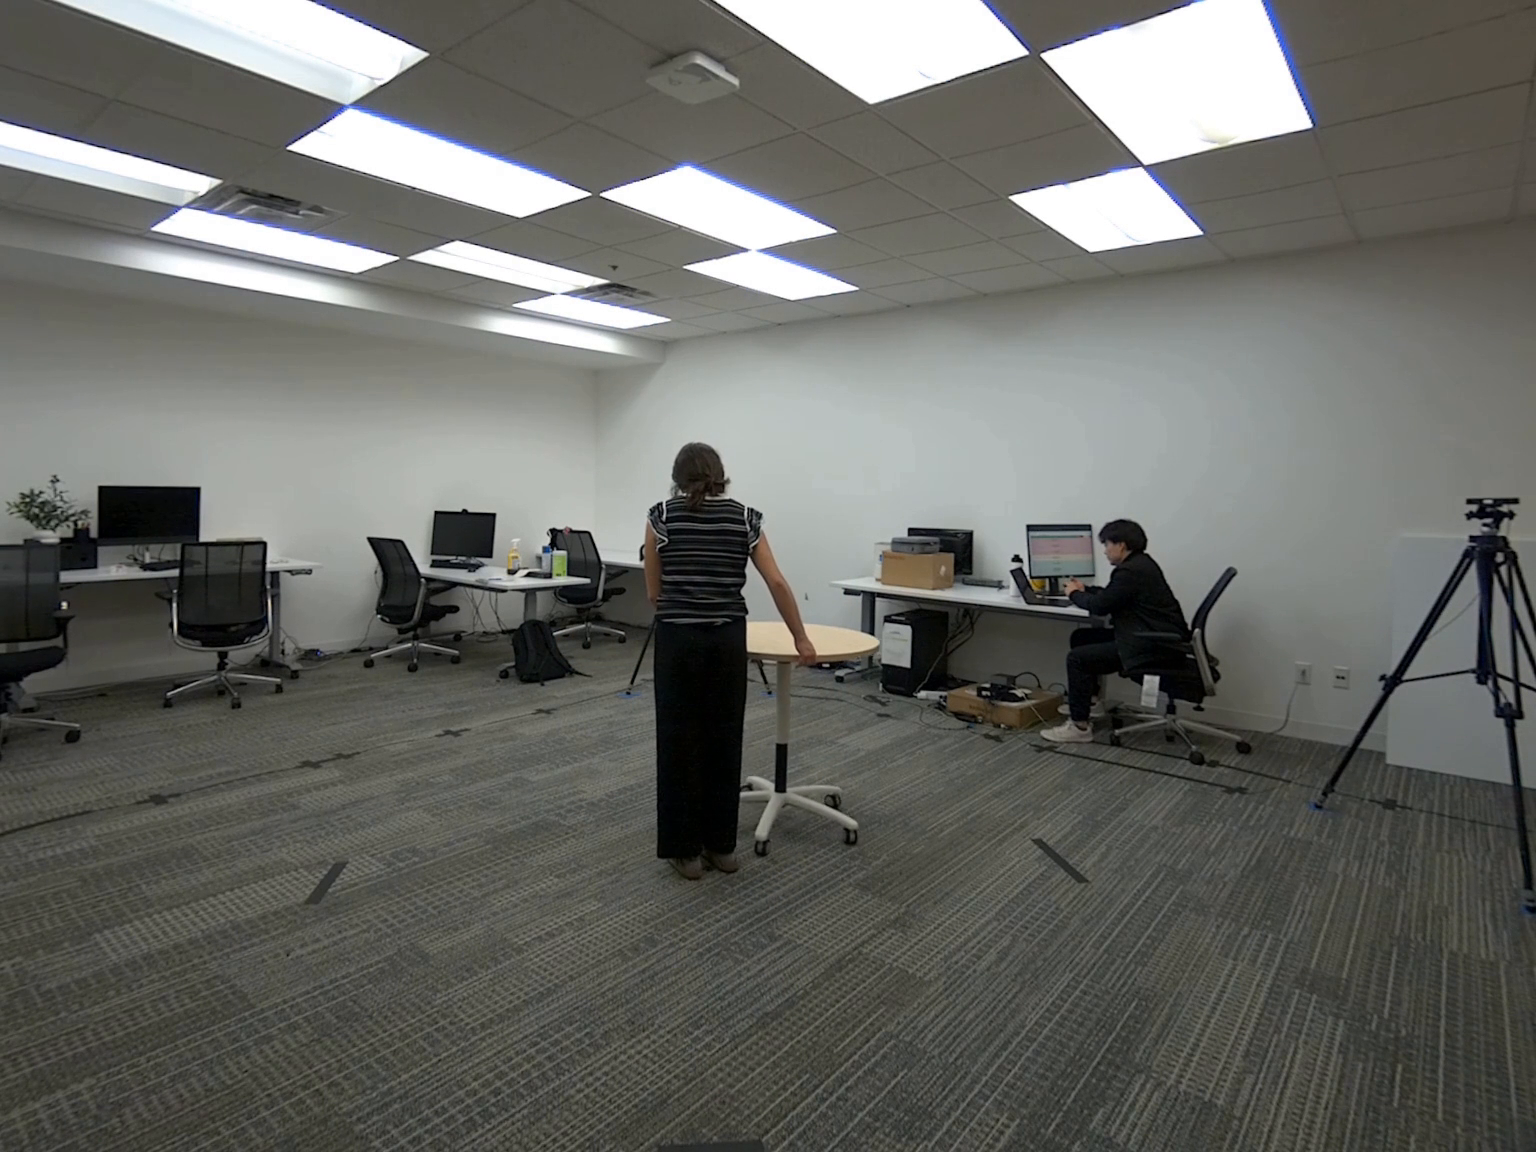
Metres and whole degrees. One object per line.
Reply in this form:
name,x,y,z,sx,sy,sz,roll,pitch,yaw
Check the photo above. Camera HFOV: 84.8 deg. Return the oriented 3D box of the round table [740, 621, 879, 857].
round table,0.042,0.637,3.507,0.784,0.784,0.789,2,4,-2
